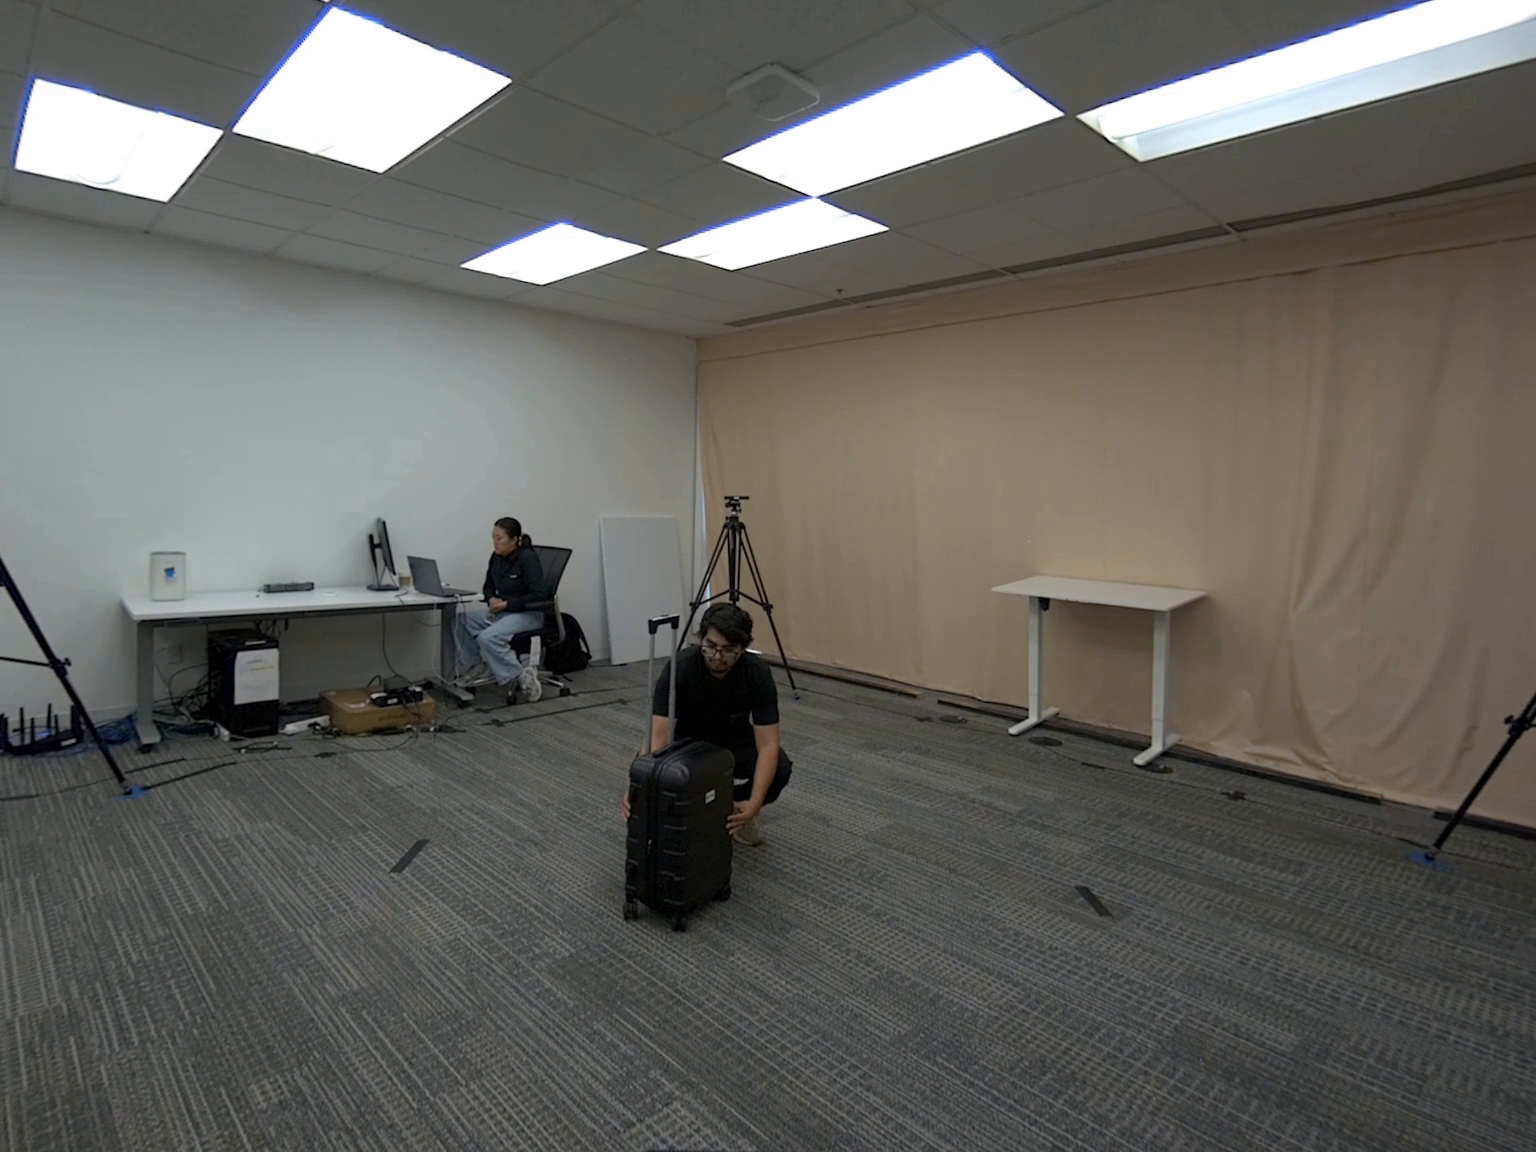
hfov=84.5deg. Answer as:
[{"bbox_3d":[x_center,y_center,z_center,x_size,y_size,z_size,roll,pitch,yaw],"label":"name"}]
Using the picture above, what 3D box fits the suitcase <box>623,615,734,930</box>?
[{"bbox_3d":[-0.289,0.650,2.832,0.263,0.976,0.377,6,4,28],"label":"suitcase"}]
